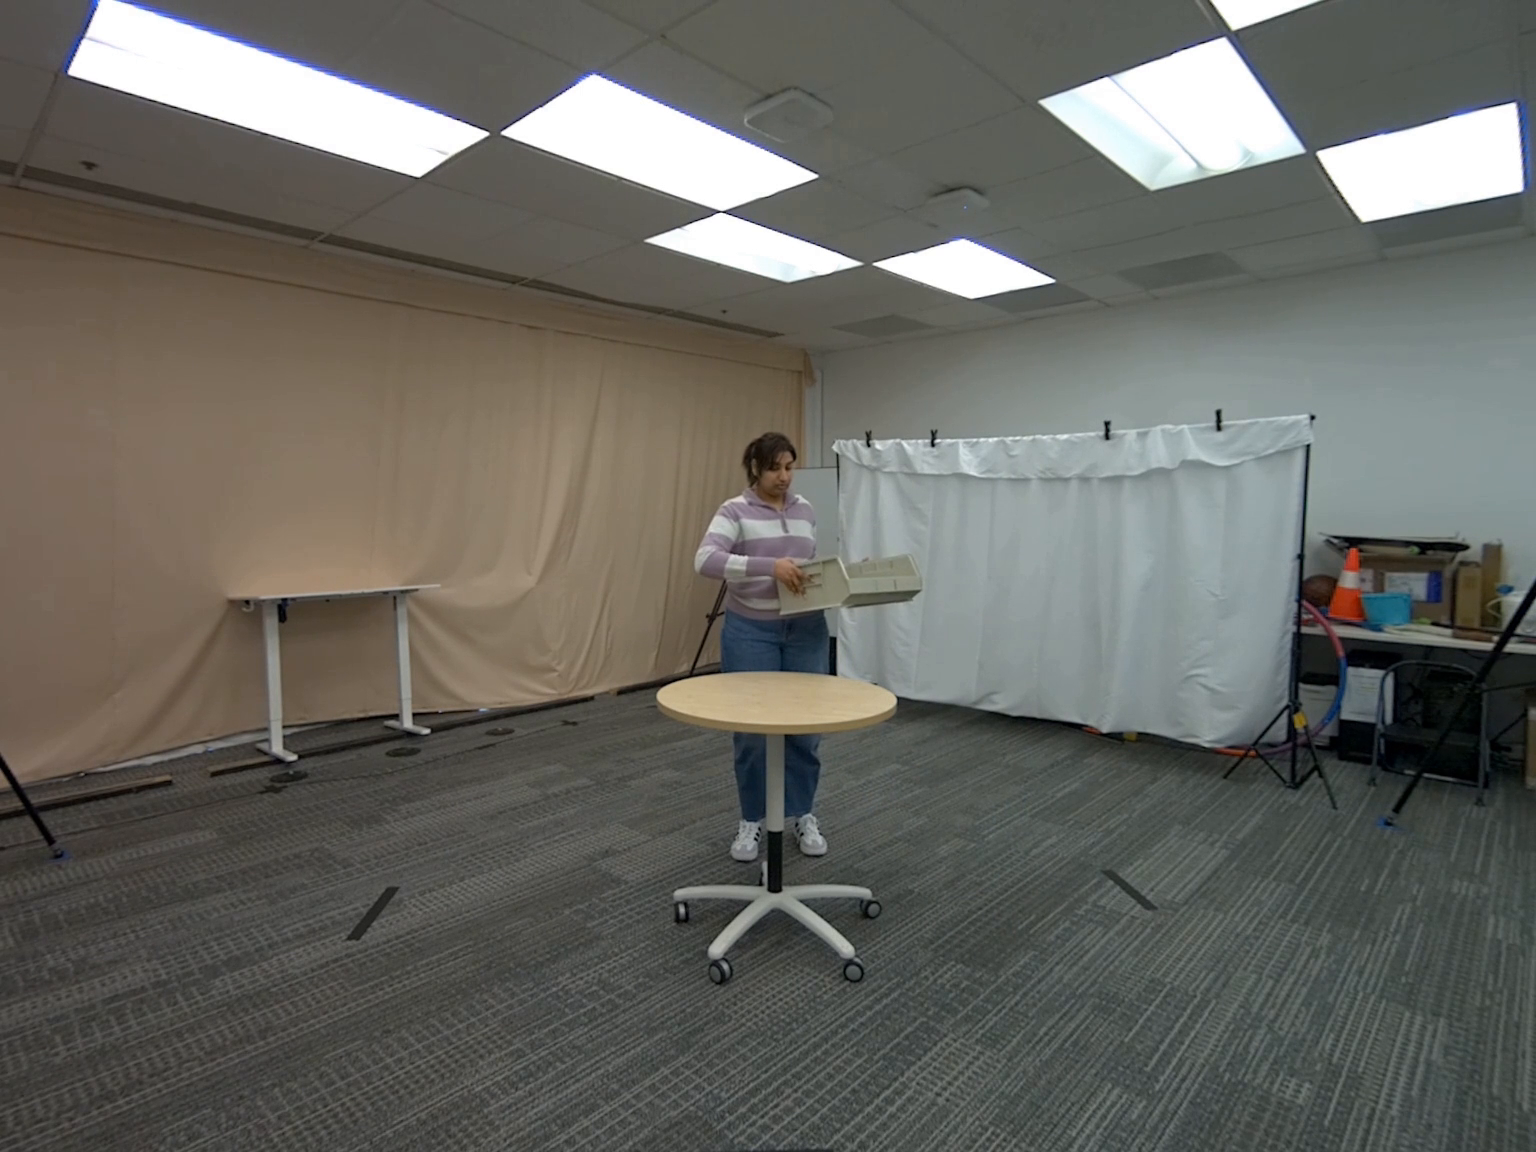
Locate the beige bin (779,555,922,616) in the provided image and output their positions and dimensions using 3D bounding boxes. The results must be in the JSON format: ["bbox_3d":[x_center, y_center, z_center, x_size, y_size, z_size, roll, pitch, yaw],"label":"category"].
[{"bbox_3d":[0.306,0.031,3.163,0.409,0.190,0.387,-3,-6,-41],"label":"beige bin"}]
